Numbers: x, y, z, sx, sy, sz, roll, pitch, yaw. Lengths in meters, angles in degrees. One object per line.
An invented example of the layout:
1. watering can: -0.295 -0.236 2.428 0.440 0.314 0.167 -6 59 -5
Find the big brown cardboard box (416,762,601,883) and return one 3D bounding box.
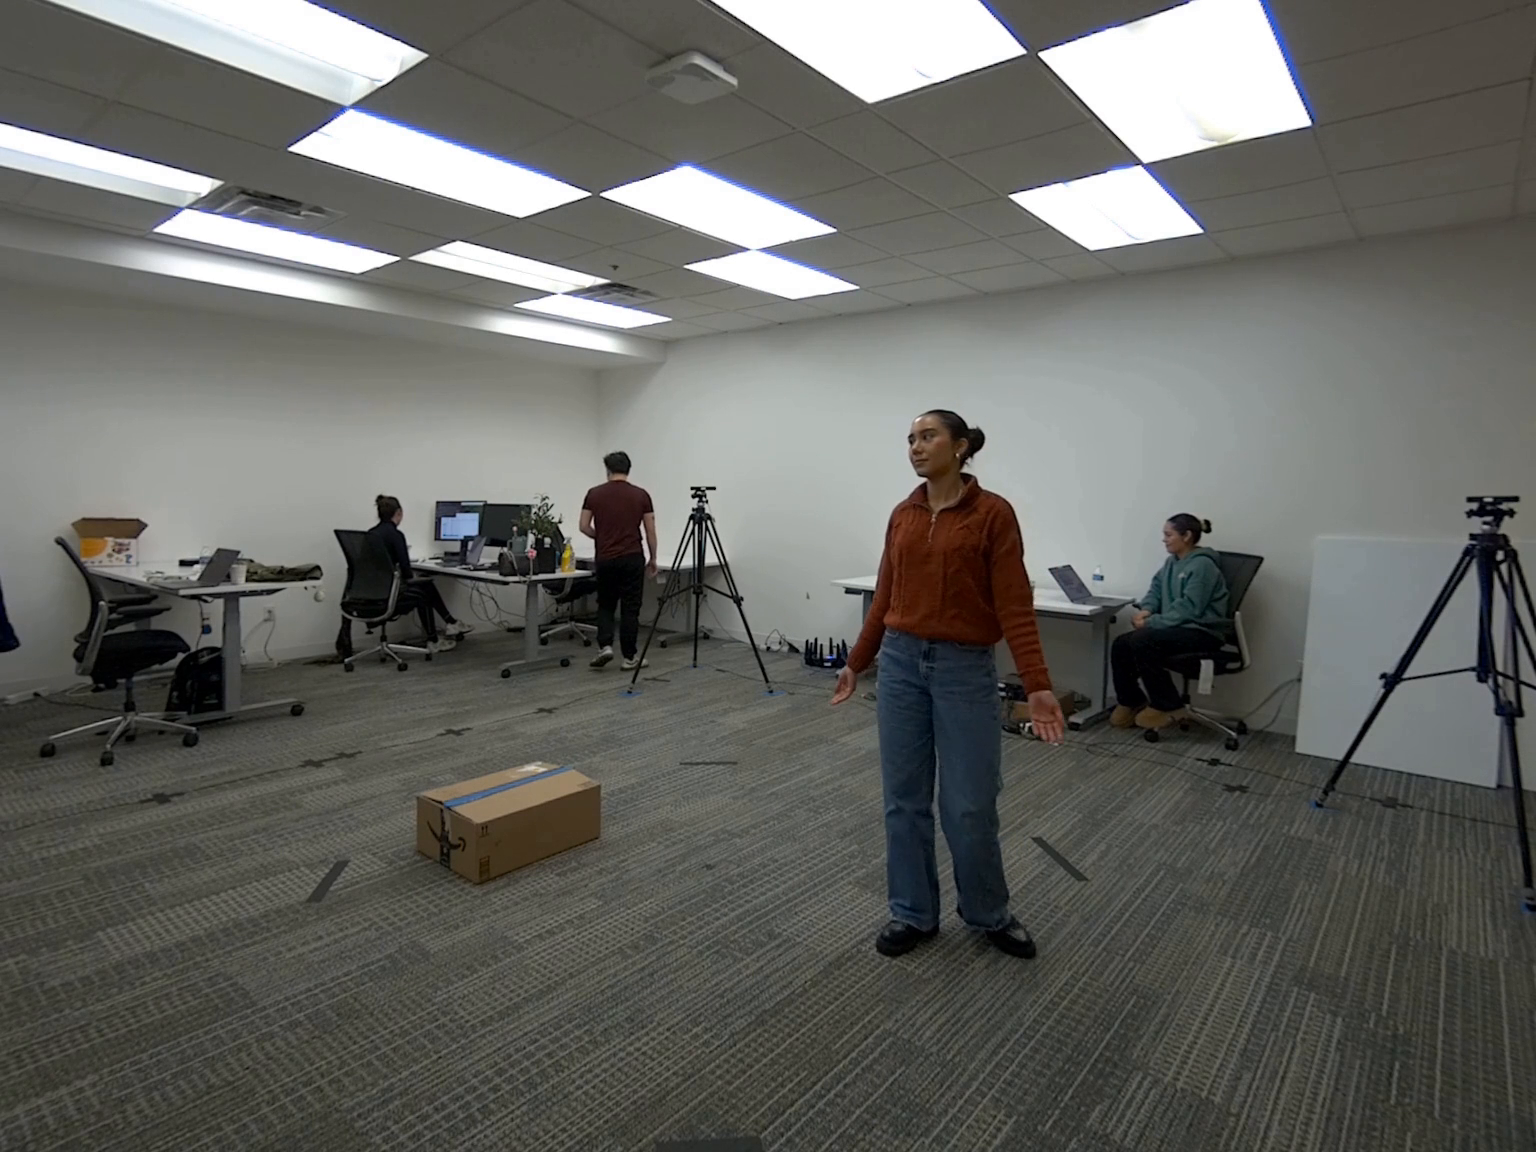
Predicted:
1. big brown cardboard box: -1.004 0.924 3.286 0.431 0.232 0.572 5 7 39
